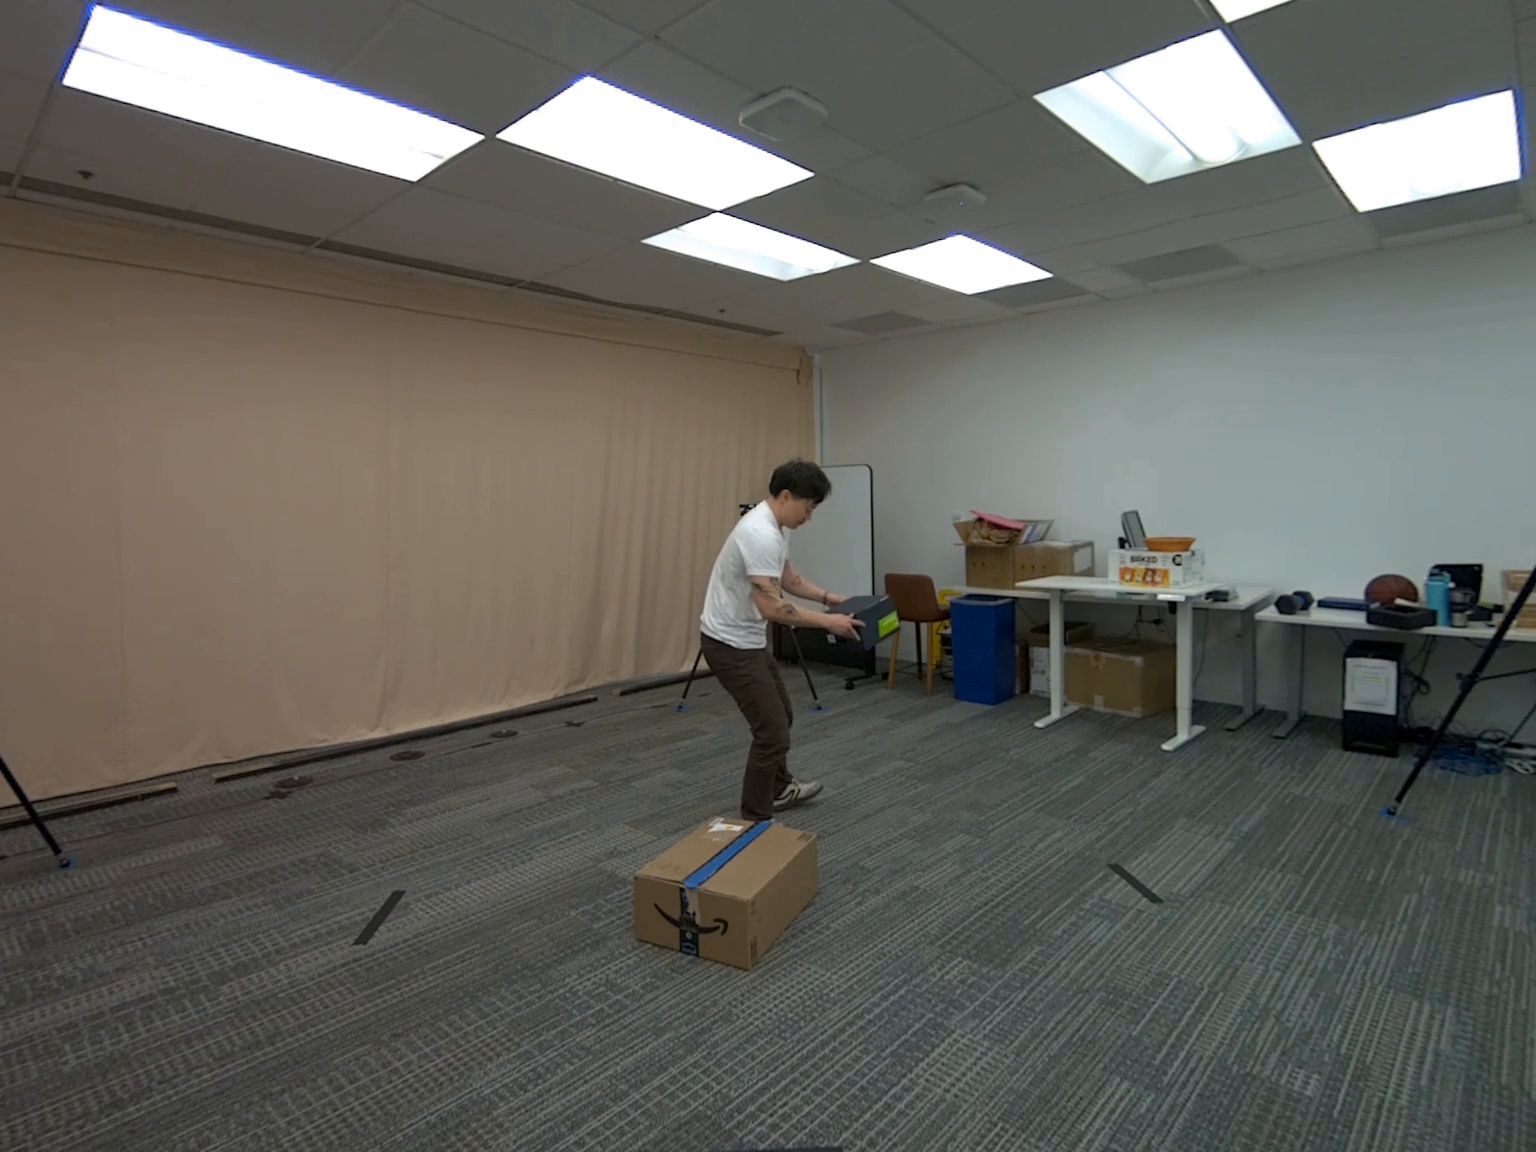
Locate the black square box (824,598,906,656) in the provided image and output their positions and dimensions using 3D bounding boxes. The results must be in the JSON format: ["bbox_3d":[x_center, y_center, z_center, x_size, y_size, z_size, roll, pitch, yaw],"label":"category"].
[{"bbox_3d":[0.385,0.202,3.452,0.223,0.155,0.223,-23,11,-36],"label":"black square box"}]
